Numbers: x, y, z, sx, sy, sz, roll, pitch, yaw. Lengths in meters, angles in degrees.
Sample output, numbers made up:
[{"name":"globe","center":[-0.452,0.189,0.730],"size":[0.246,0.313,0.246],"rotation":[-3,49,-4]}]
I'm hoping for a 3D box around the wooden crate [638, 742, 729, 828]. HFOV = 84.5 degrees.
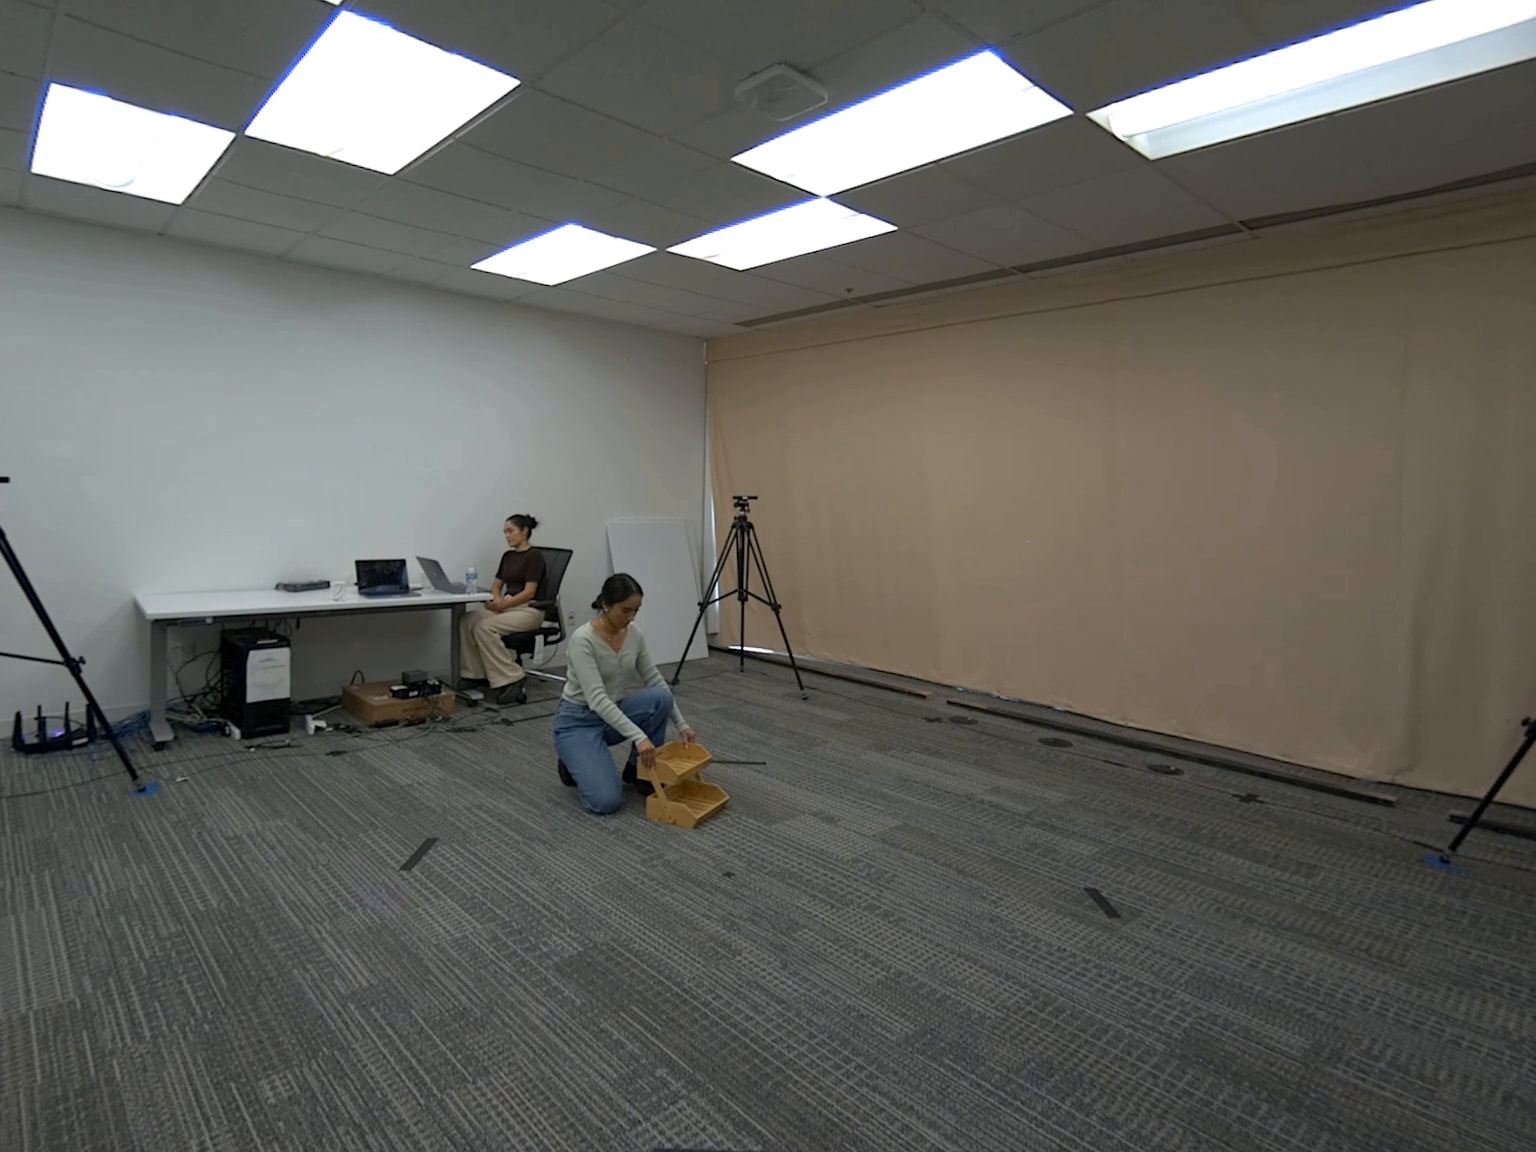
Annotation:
[{"name":"wooden crate","center":[-0.374,0.910,3.716],"size":[0.308,0.273,0.319],"rotation":[3,4,26]}]
